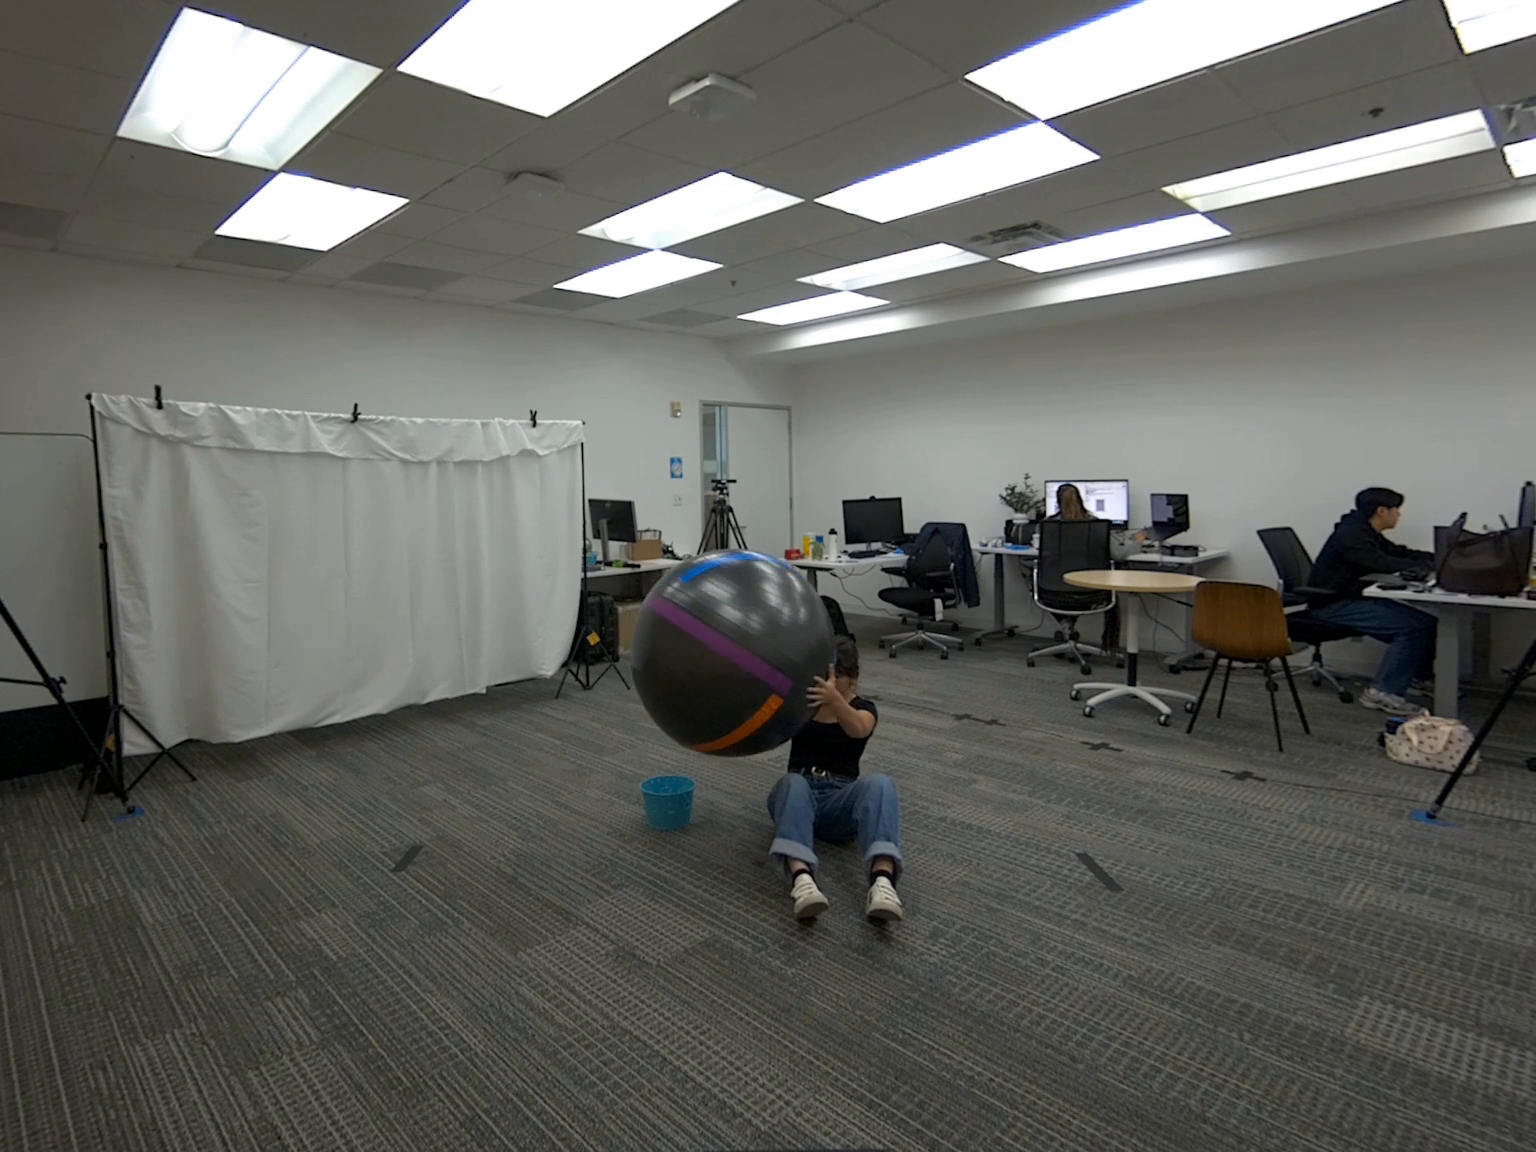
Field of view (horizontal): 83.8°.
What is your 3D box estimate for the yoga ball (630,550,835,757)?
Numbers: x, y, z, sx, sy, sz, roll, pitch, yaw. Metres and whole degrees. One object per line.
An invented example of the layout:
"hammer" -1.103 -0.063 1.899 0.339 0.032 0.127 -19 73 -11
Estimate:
"yoga ball" -0.127 0.293 3.160 0.757 0.755 0.762 -1 5 -2
